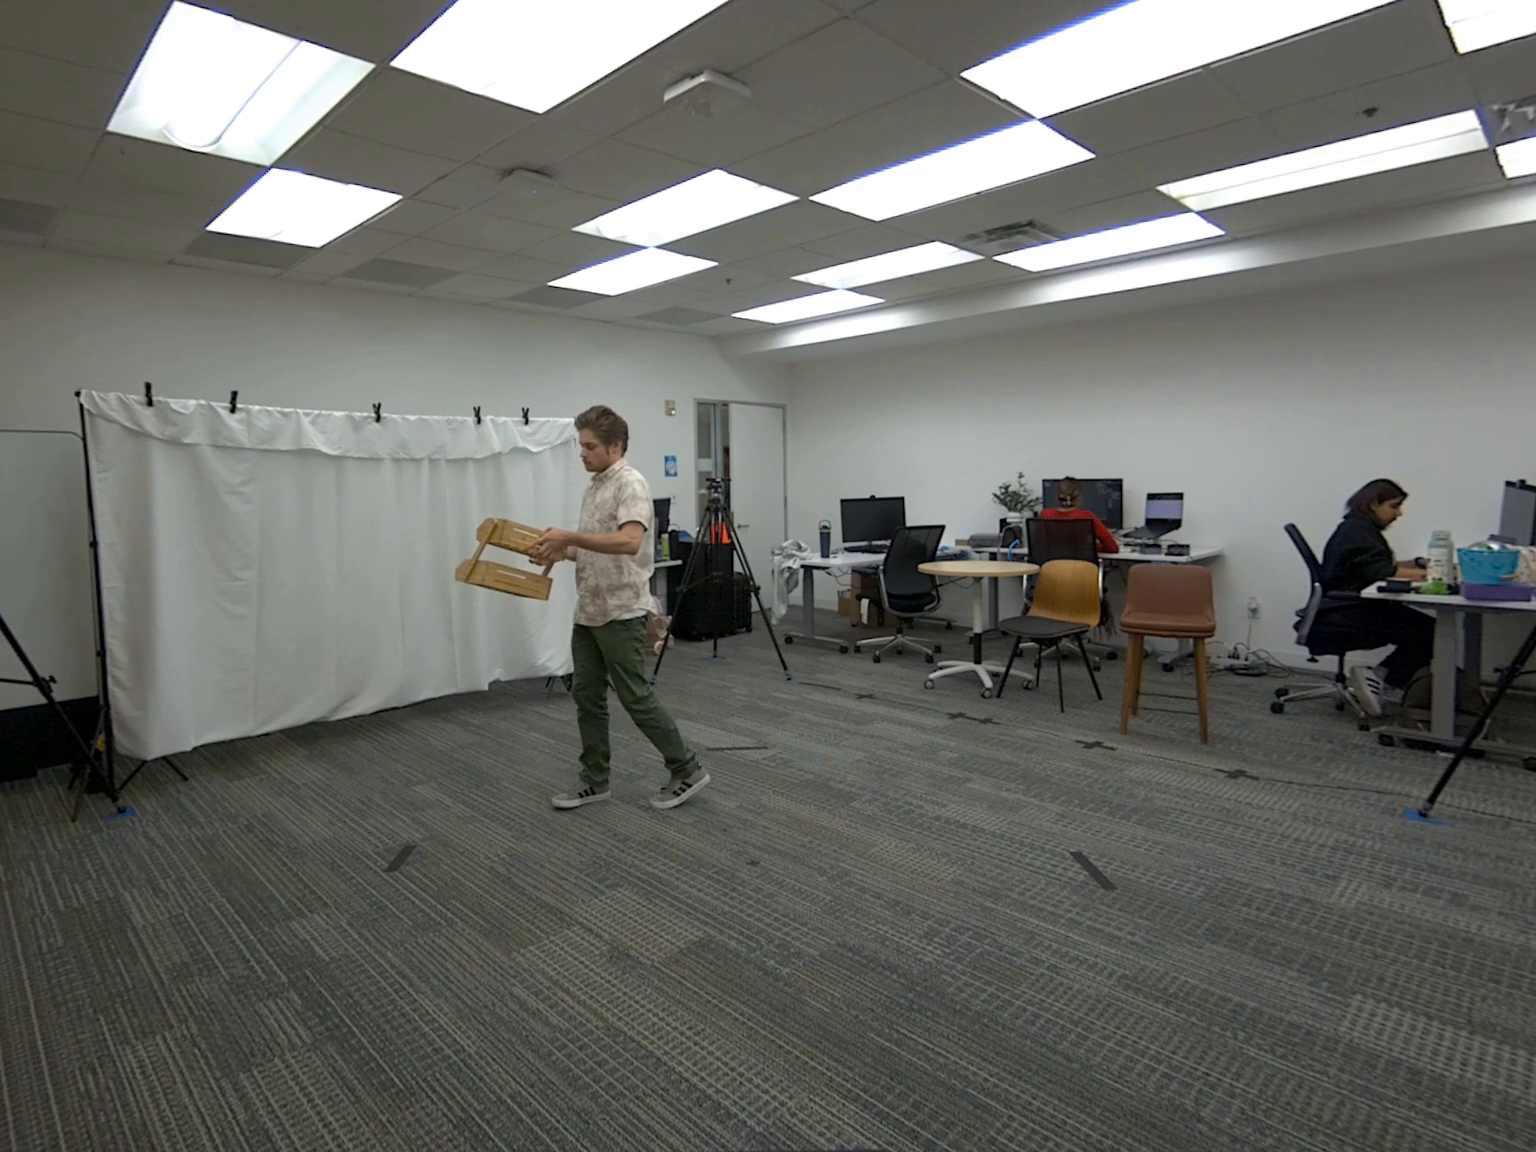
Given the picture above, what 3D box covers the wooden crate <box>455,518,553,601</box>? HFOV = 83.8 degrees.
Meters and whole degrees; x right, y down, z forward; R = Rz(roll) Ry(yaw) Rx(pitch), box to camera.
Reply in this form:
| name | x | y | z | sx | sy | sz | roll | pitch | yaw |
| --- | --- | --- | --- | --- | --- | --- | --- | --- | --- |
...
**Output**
| name | x | y | z | sx | sy | sz | roll | pitch | yaw |
| --- | --- | --- | --- | --- | --- | --- | --- | --- | --- |
| wooden crate | -1.038 | -0.068 | 3.449 | 0.313 | 0.275 | 0.311 | 19 | -11 | -42 |
